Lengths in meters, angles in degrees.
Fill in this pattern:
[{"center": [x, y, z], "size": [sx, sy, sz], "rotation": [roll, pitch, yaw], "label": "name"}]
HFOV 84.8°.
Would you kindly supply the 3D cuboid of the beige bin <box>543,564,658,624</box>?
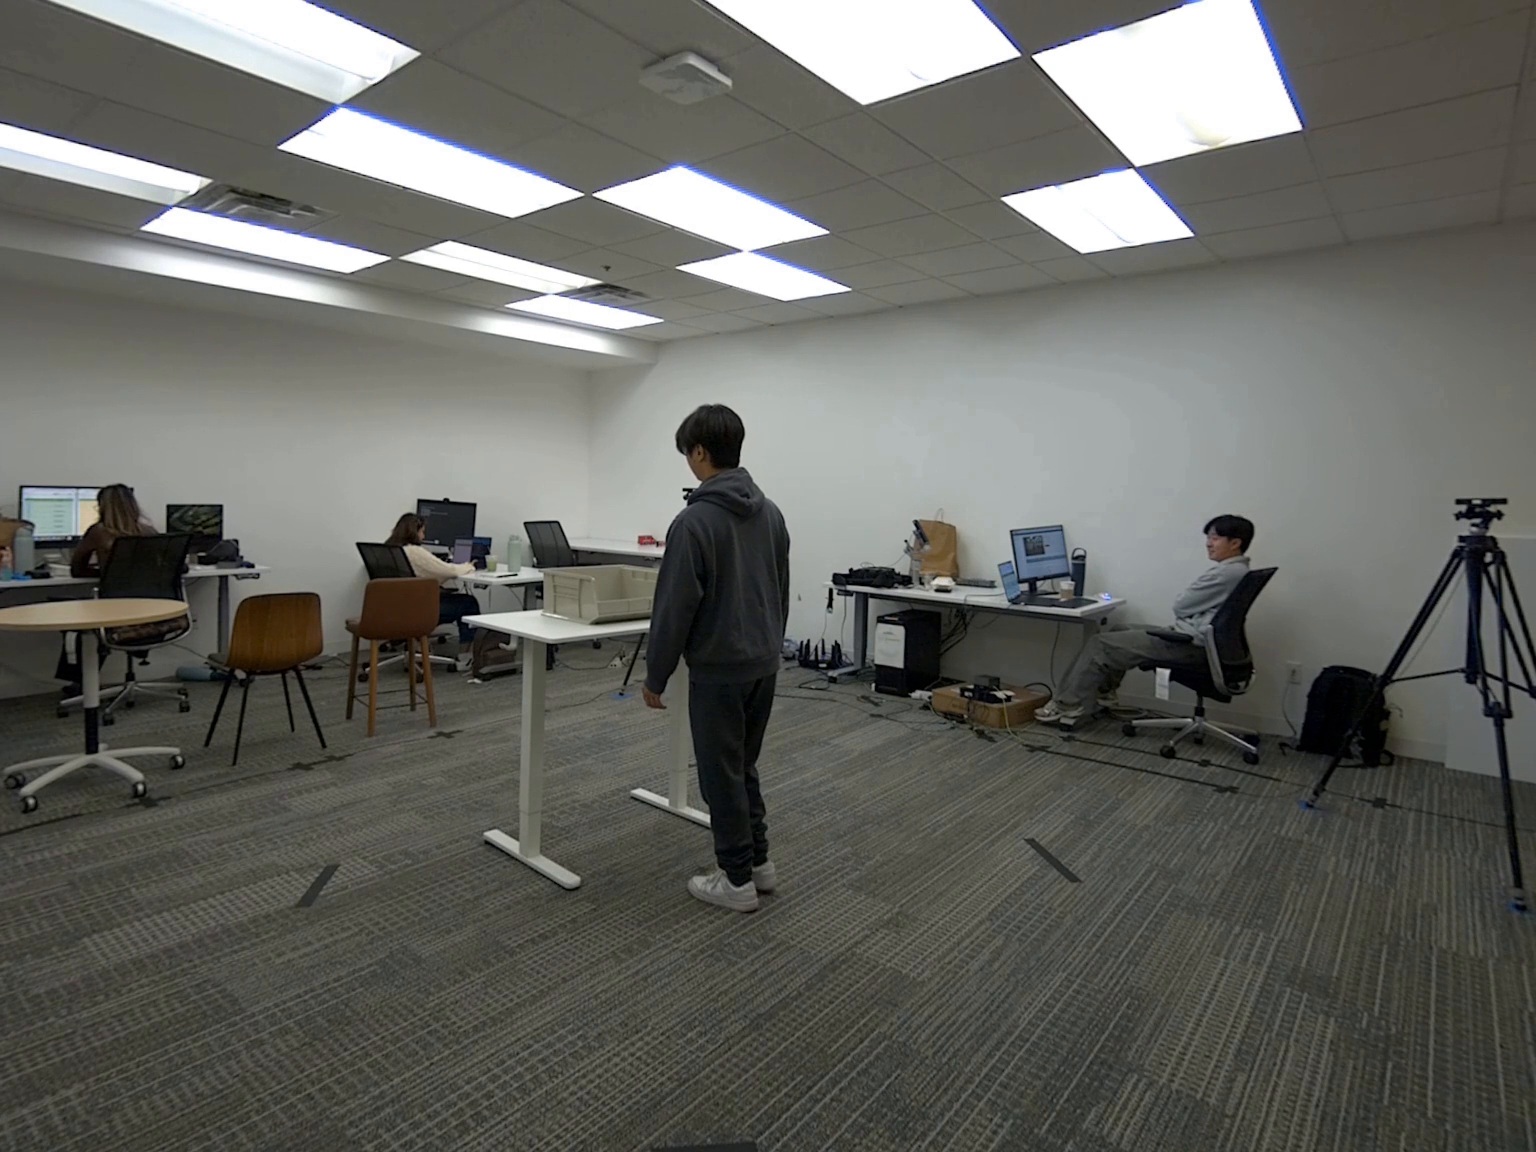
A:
[{"center": [-0.630, 0.069, 3.346], "size": [0.390, 0.188, 0.409], "rotation": [5, 6, 43], "label": "beige bin"}]
